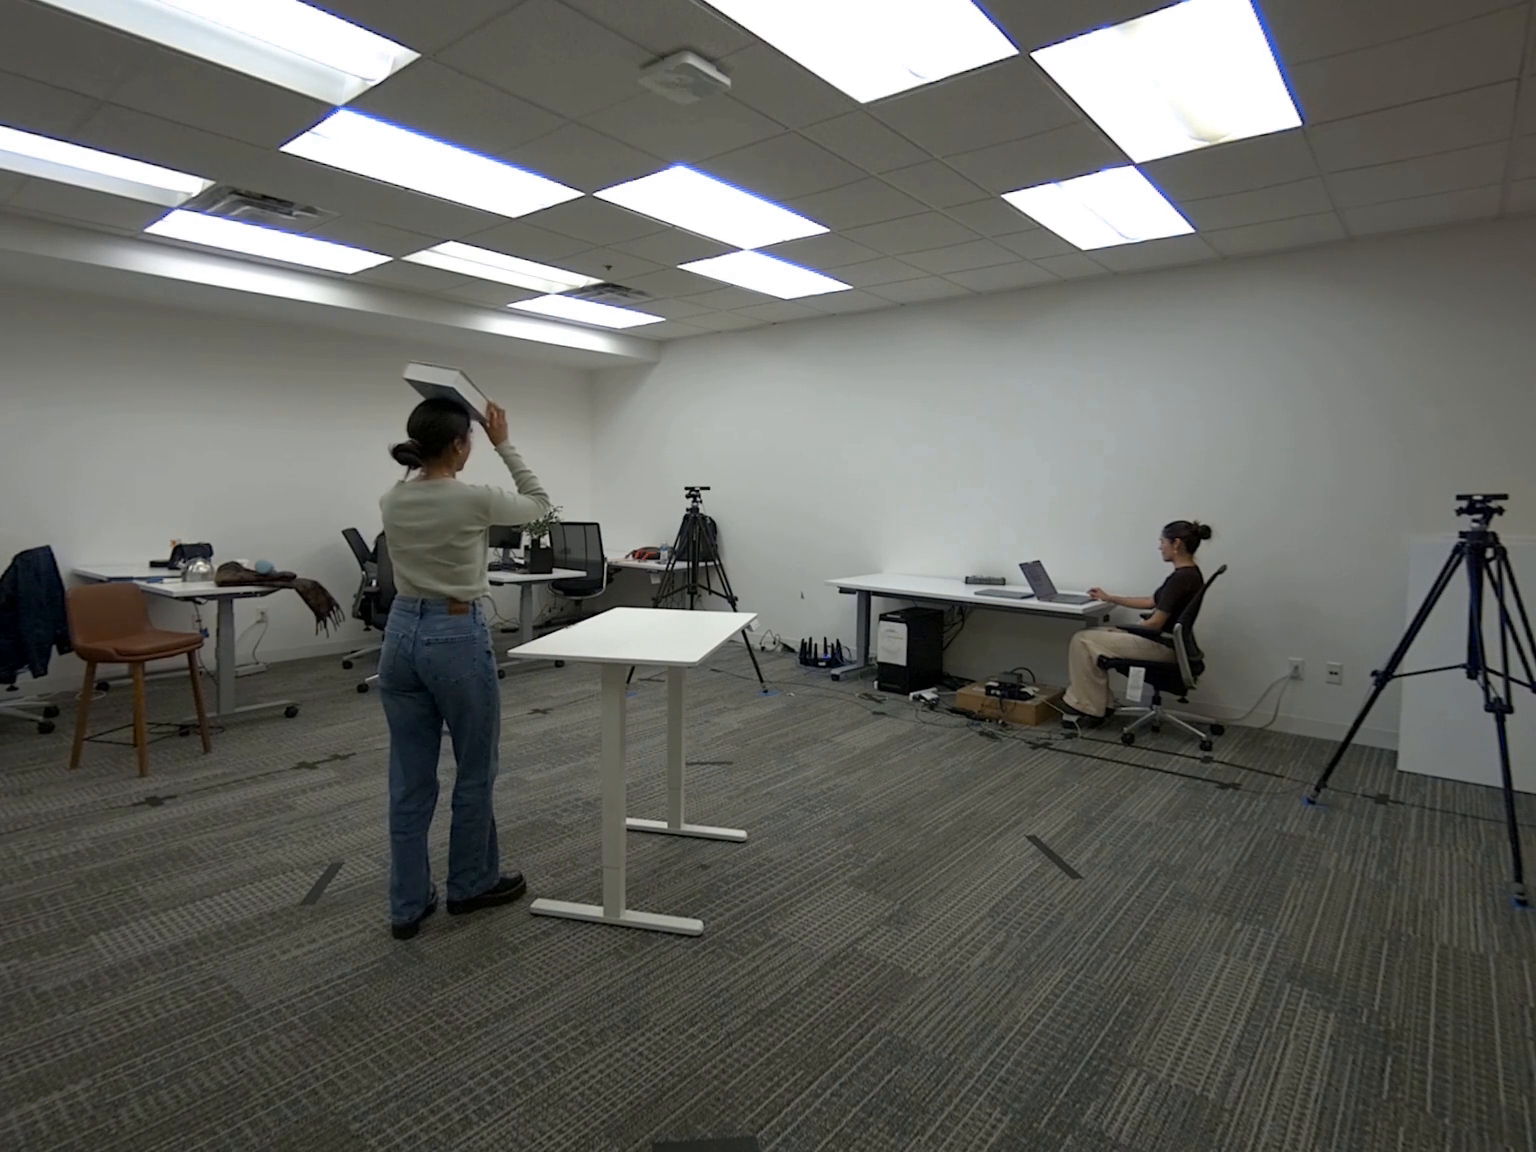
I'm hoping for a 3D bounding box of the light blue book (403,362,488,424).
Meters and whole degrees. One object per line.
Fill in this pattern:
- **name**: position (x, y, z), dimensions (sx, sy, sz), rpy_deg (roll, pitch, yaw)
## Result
- **light blue book**: position (-1.006, -0.572, 2.679), dimensions (0.195, 0.059, 0.253), rpy_deg (13, -14, 15)
